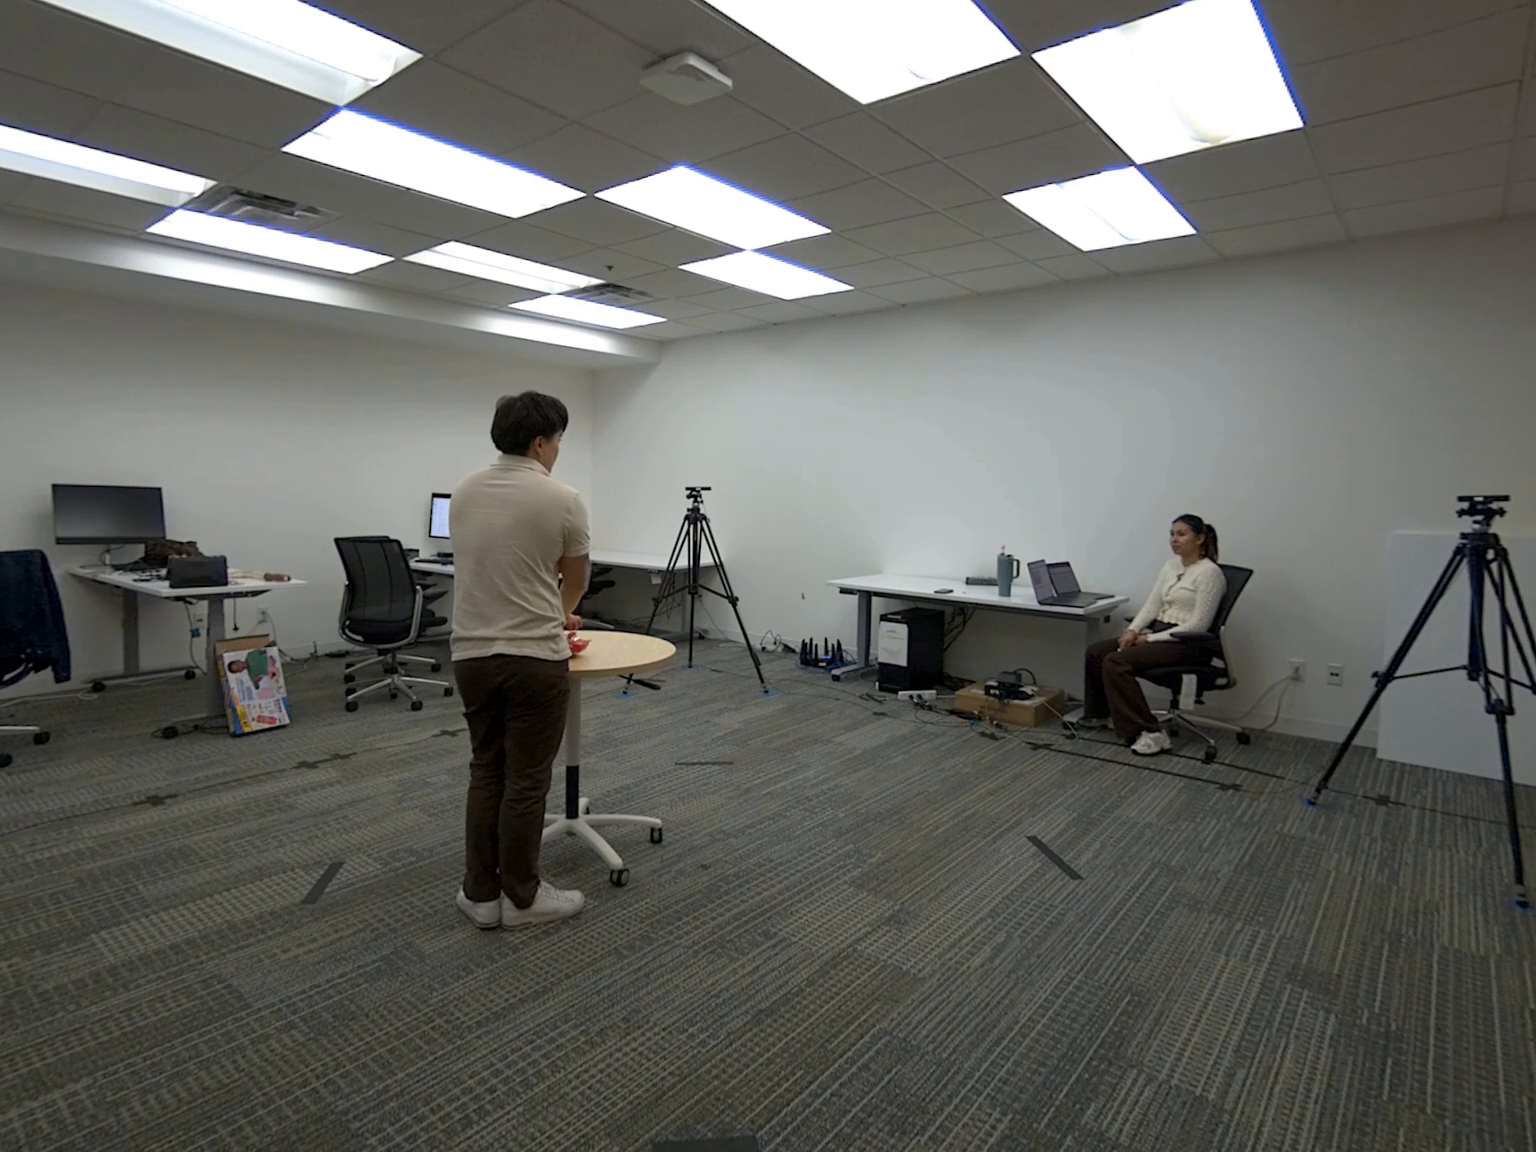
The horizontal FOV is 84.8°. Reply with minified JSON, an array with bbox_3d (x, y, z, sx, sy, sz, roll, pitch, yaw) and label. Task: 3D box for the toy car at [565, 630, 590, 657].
[{"bbox_3d":[-0.768,0.252,3.031,0.256,0.083,0.130,-9,4,8],"label":"toy car"}]
